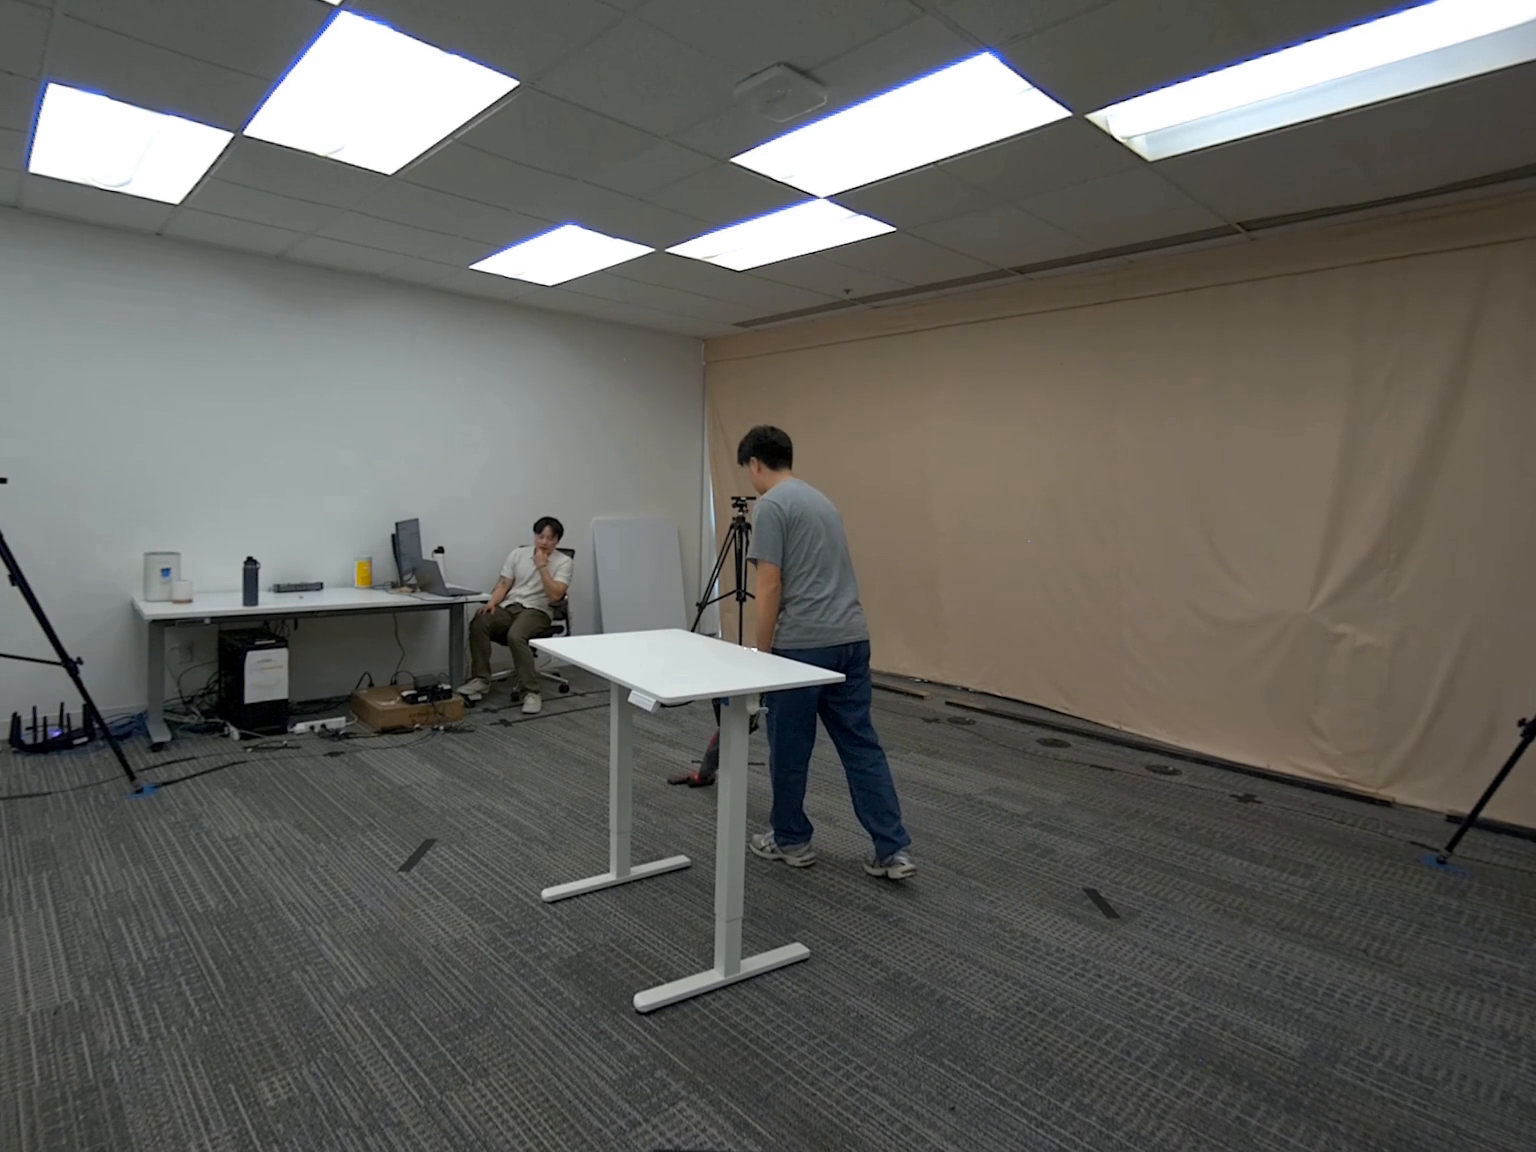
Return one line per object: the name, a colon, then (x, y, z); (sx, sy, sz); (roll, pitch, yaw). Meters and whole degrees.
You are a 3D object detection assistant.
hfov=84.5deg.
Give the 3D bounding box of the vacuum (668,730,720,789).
vacuum: (-0.156, 0.664, 3.811); (0.247, 0.148, 1.042); (-2, -39, -34)
